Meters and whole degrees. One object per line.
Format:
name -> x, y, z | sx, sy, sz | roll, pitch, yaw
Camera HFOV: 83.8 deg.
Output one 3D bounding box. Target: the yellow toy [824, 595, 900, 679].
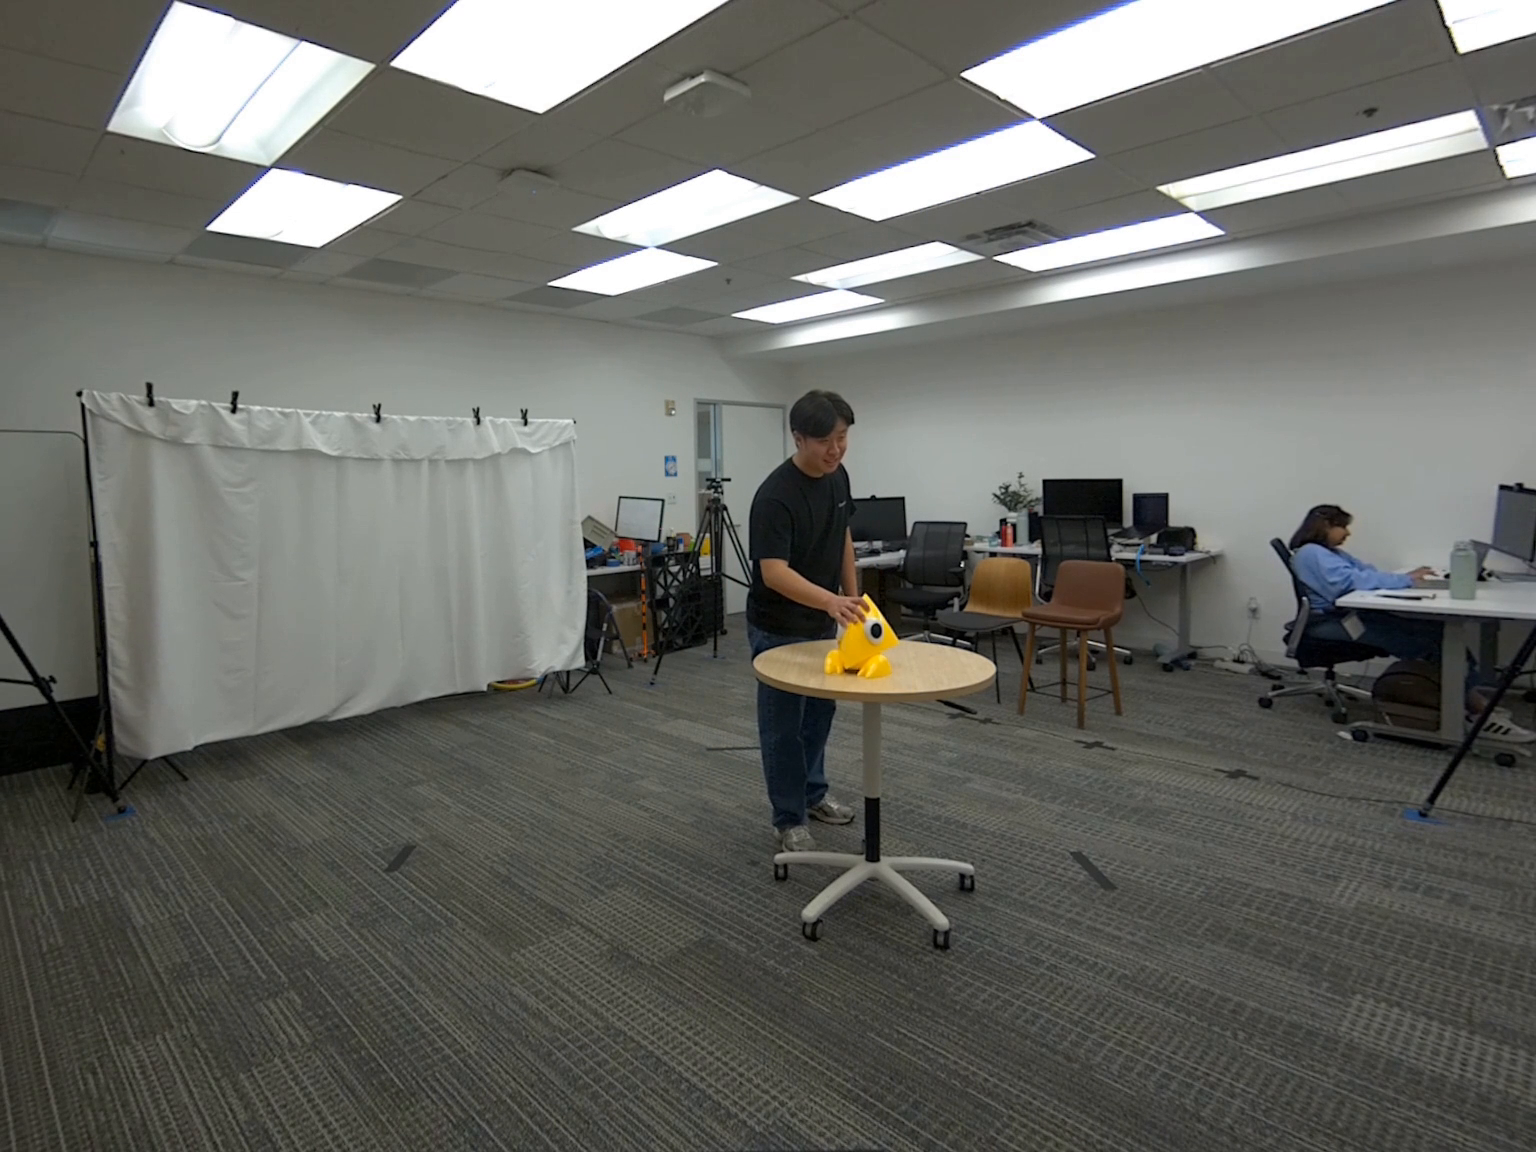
yellow toy -> 0.283, 0.183, 2.647 | 0.210, 0.230, 0.189 | 3, 6, 30
